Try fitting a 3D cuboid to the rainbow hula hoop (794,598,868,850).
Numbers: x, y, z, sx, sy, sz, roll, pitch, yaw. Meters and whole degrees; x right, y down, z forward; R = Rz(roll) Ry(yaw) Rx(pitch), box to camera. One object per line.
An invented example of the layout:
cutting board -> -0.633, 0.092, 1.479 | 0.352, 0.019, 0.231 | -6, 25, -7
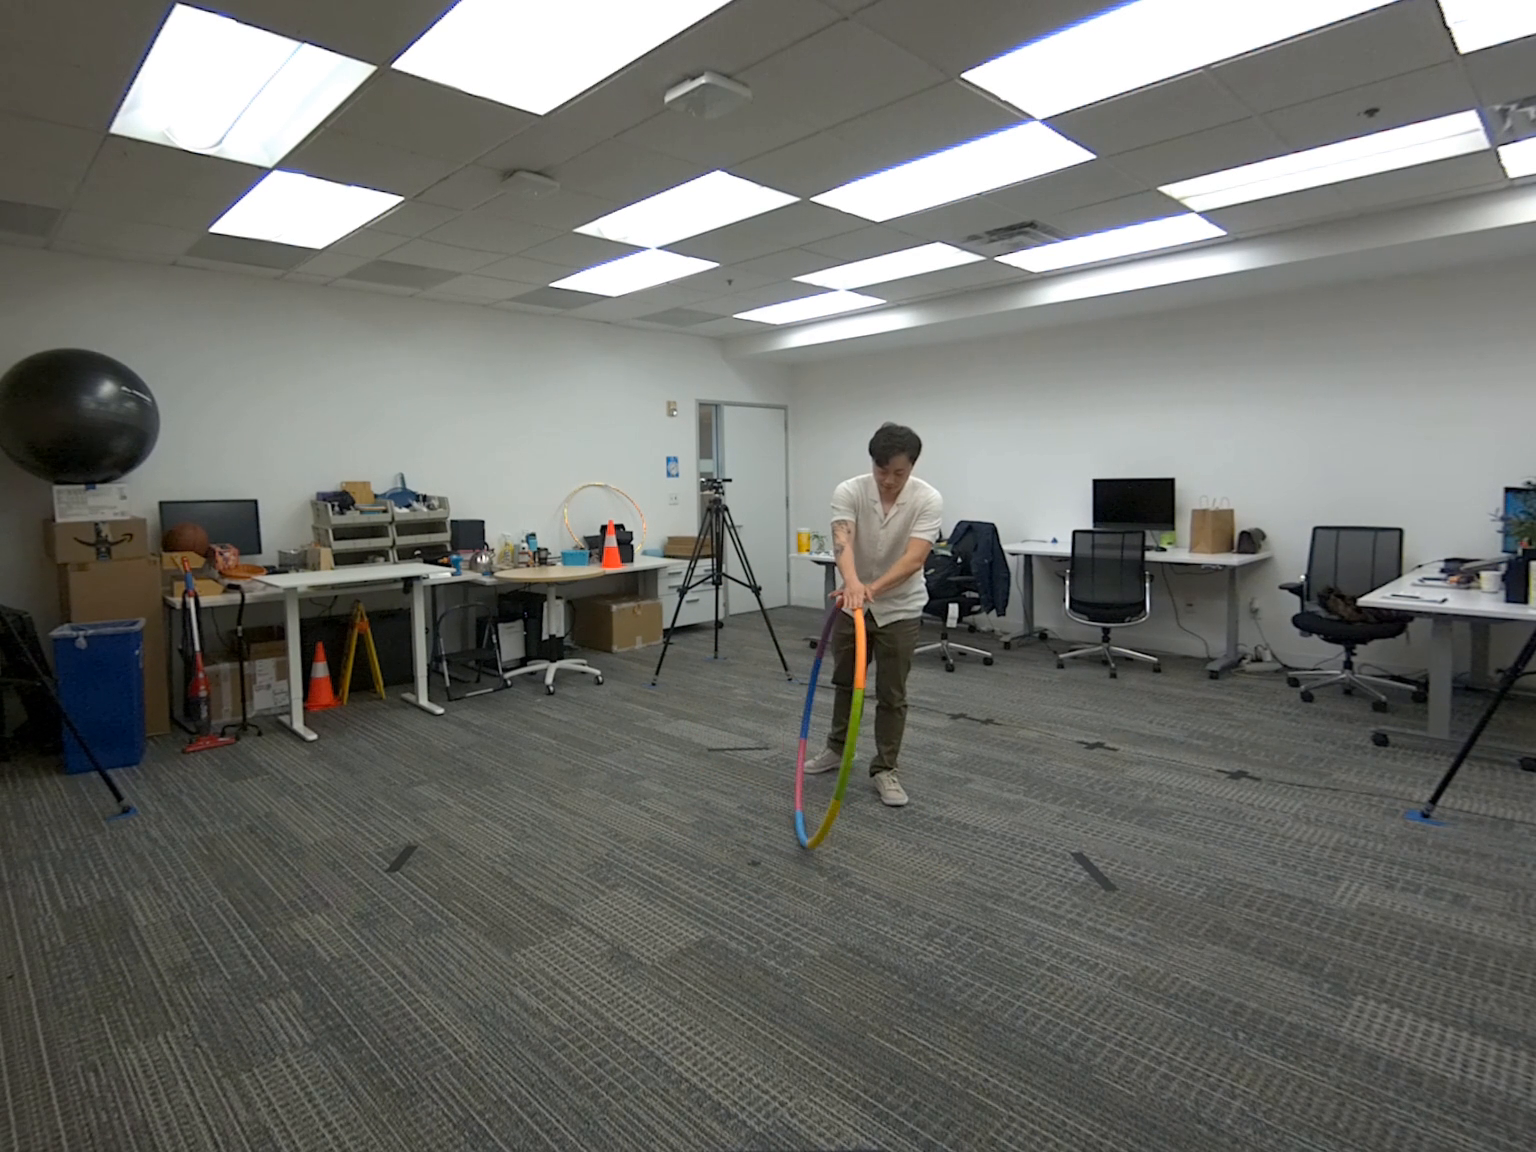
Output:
rainbow hula hoop -> 0.224, 0.547, 3.308 | 0.035, 0.976, 0.985 | 12, 4, -5
